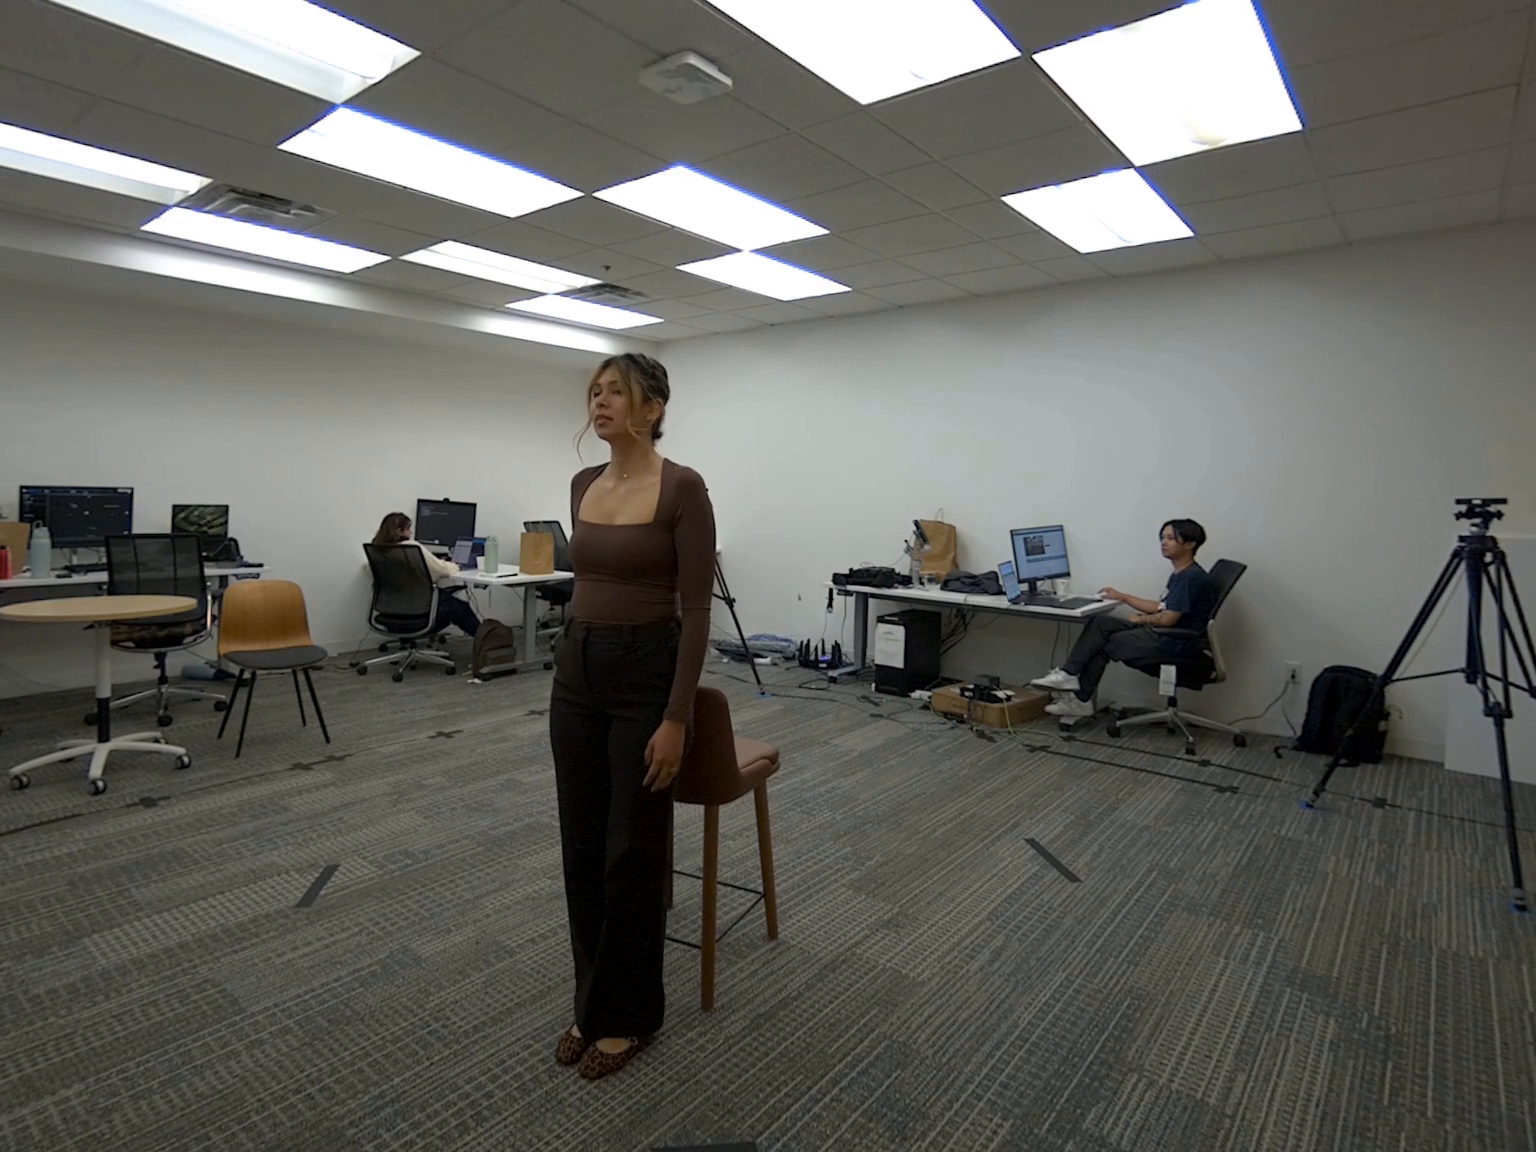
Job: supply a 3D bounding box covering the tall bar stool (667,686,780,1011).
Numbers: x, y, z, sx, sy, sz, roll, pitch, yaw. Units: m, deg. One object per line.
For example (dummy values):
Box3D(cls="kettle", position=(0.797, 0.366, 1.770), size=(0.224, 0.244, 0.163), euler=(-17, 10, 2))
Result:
Box3D(cls="tall bar stool", position=(-0.241, 0.690, 2.511), size=(0.468, 0.885, 0.458), euler=(2, 6, 25))
